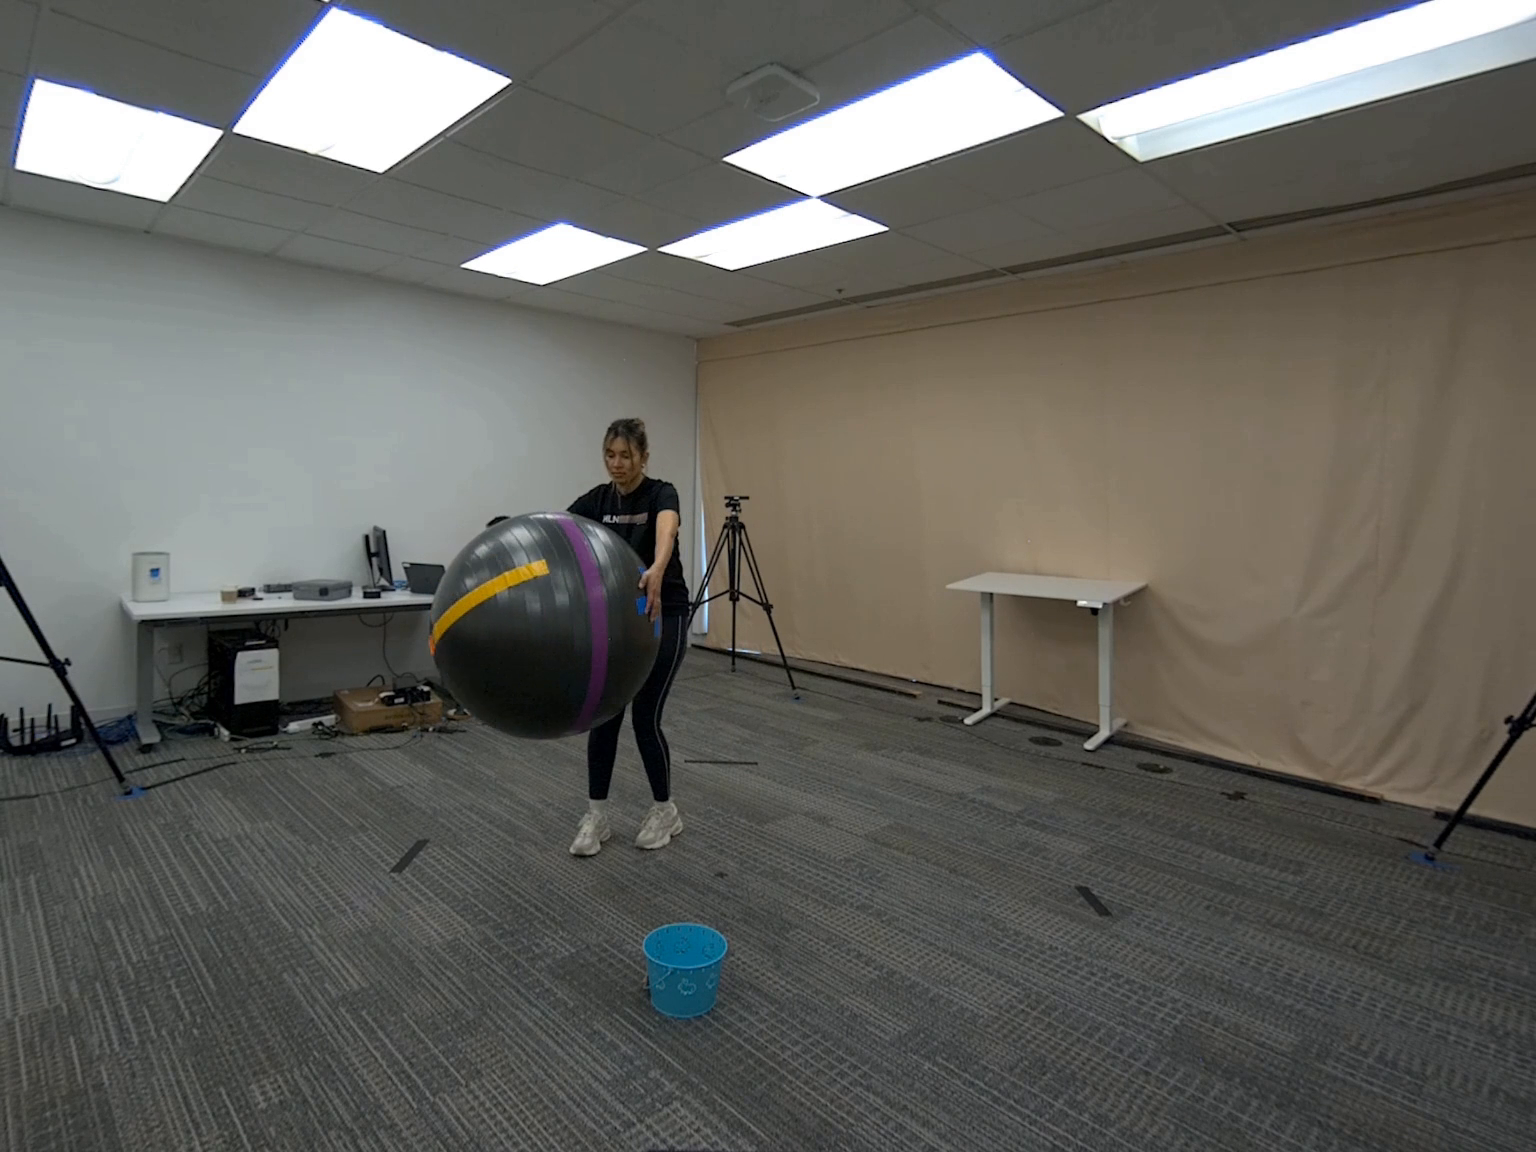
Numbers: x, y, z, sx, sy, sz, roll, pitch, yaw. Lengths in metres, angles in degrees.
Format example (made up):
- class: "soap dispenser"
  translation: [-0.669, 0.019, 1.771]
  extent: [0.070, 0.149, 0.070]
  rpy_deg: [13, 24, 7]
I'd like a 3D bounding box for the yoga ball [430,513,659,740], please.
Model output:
- class: "yoga ball"
  translation: [-0.746, 0.172, 2.829]
  extent: [0.757, 0.756, 0.761]
  rpy_deg: [1, 4, -1]
